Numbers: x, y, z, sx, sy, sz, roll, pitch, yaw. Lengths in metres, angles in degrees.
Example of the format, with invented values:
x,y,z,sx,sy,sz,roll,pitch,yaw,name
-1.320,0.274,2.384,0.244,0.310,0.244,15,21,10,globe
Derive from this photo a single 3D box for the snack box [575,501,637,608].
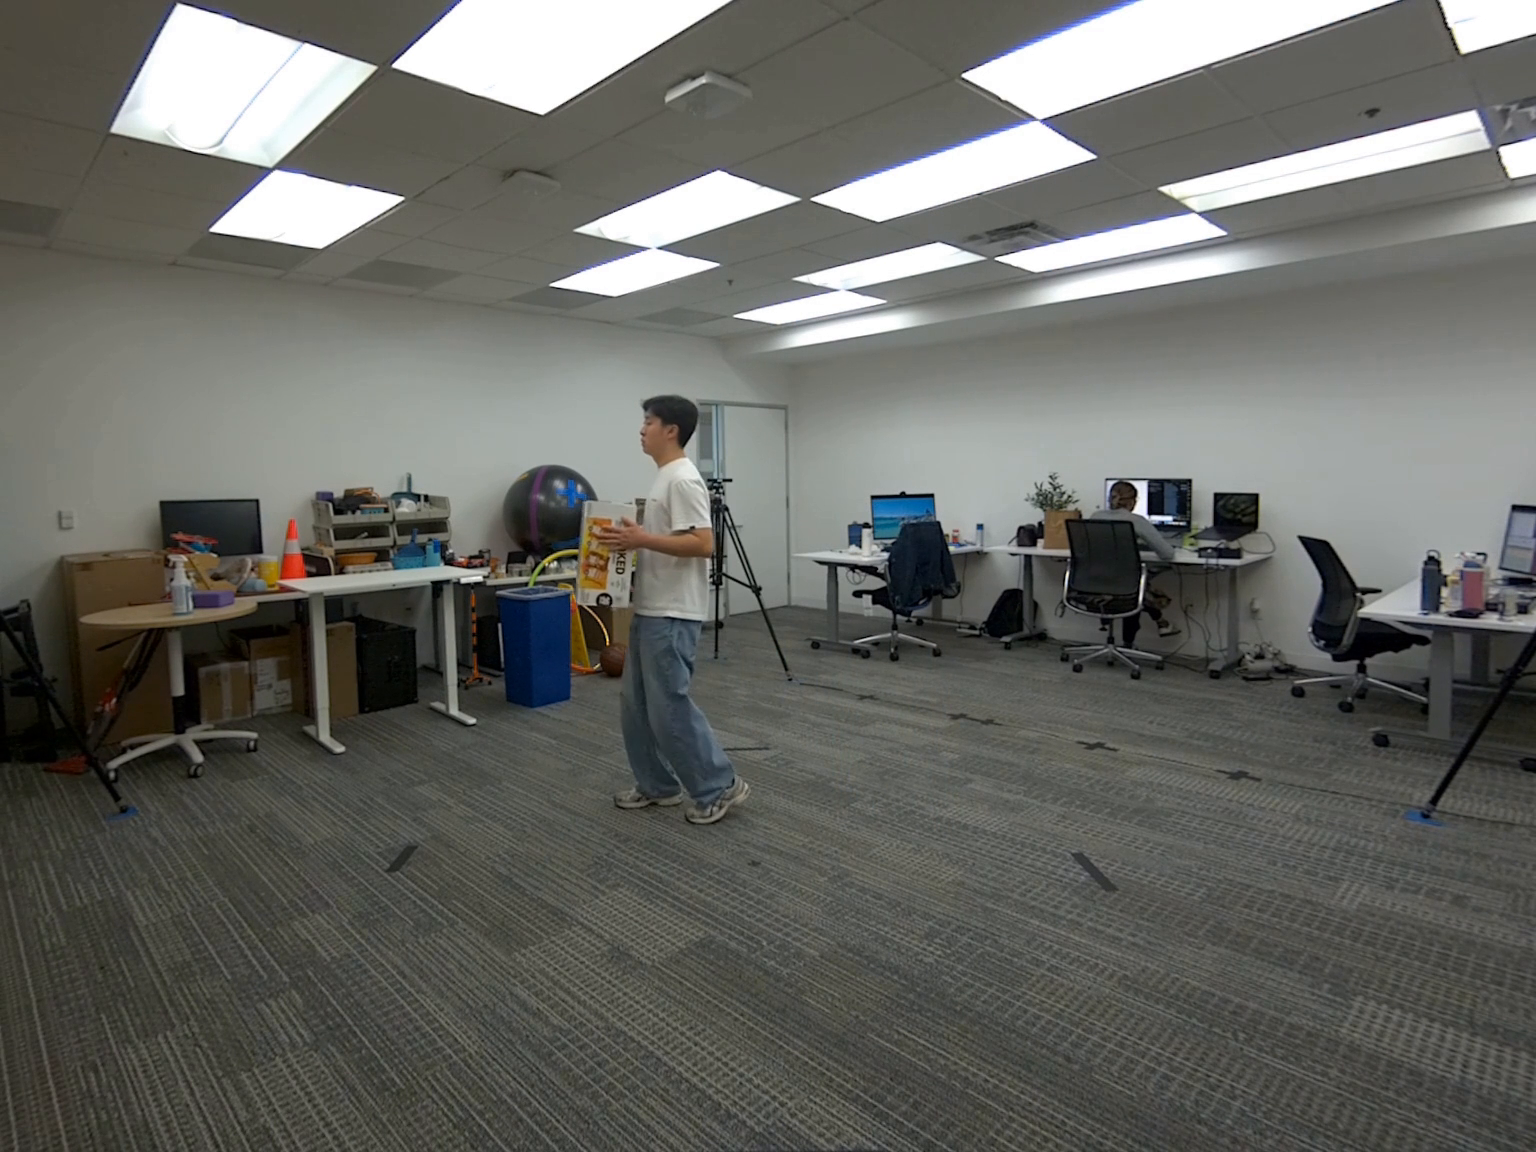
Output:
x,y,z,sx,sy,sz,roll,pitch,yaw,name
-0.661,-0.097,3.486,0.203,0.405,0.345,5,1,-13,snack box
